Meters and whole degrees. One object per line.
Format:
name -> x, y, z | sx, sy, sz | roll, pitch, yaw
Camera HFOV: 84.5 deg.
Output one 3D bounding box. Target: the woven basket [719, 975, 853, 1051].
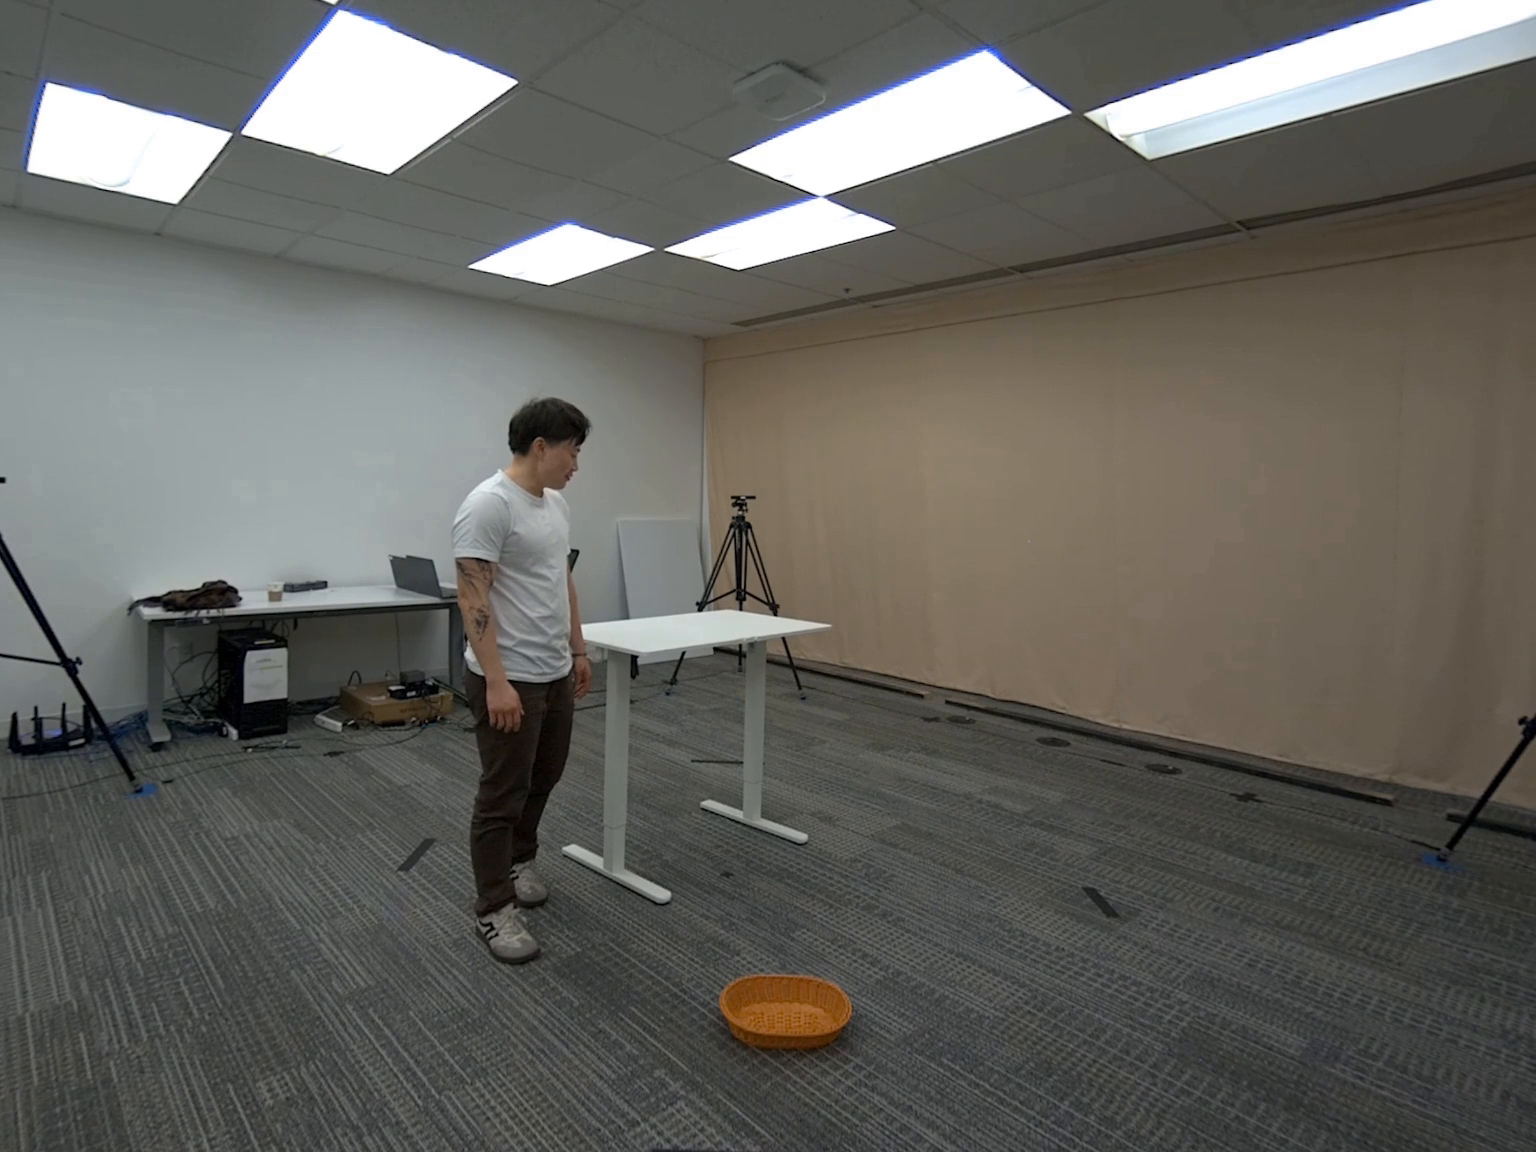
woven basket -> 0.039, 1.155, 2.208 | 0.351, 0.073, 0.253 | 2, 7, 1
